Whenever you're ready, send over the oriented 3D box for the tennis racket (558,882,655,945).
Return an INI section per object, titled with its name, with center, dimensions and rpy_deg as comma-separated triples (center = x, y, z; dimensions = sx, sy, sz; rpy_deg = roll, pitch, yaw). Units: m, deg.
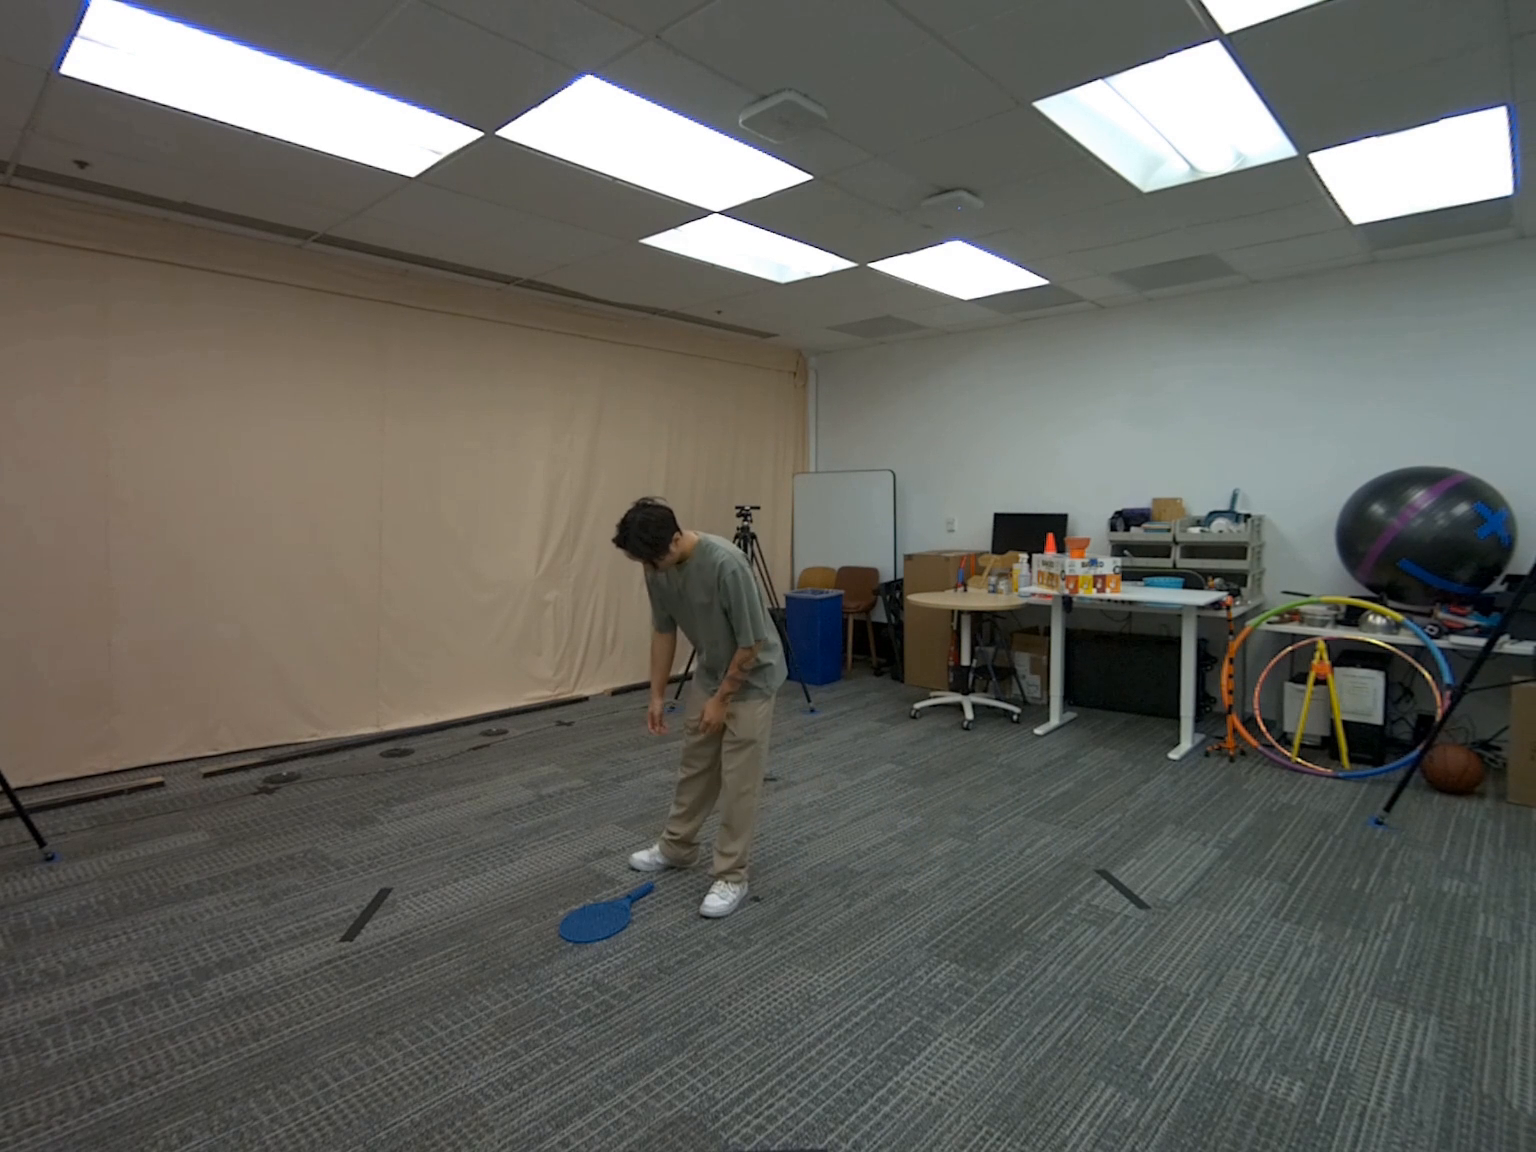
[tennis racket]
center = -0.531, 1.142, 2.878
dimensions = 0.220, 0.031, 0.421
rpy_deg = 3, 7, 31
